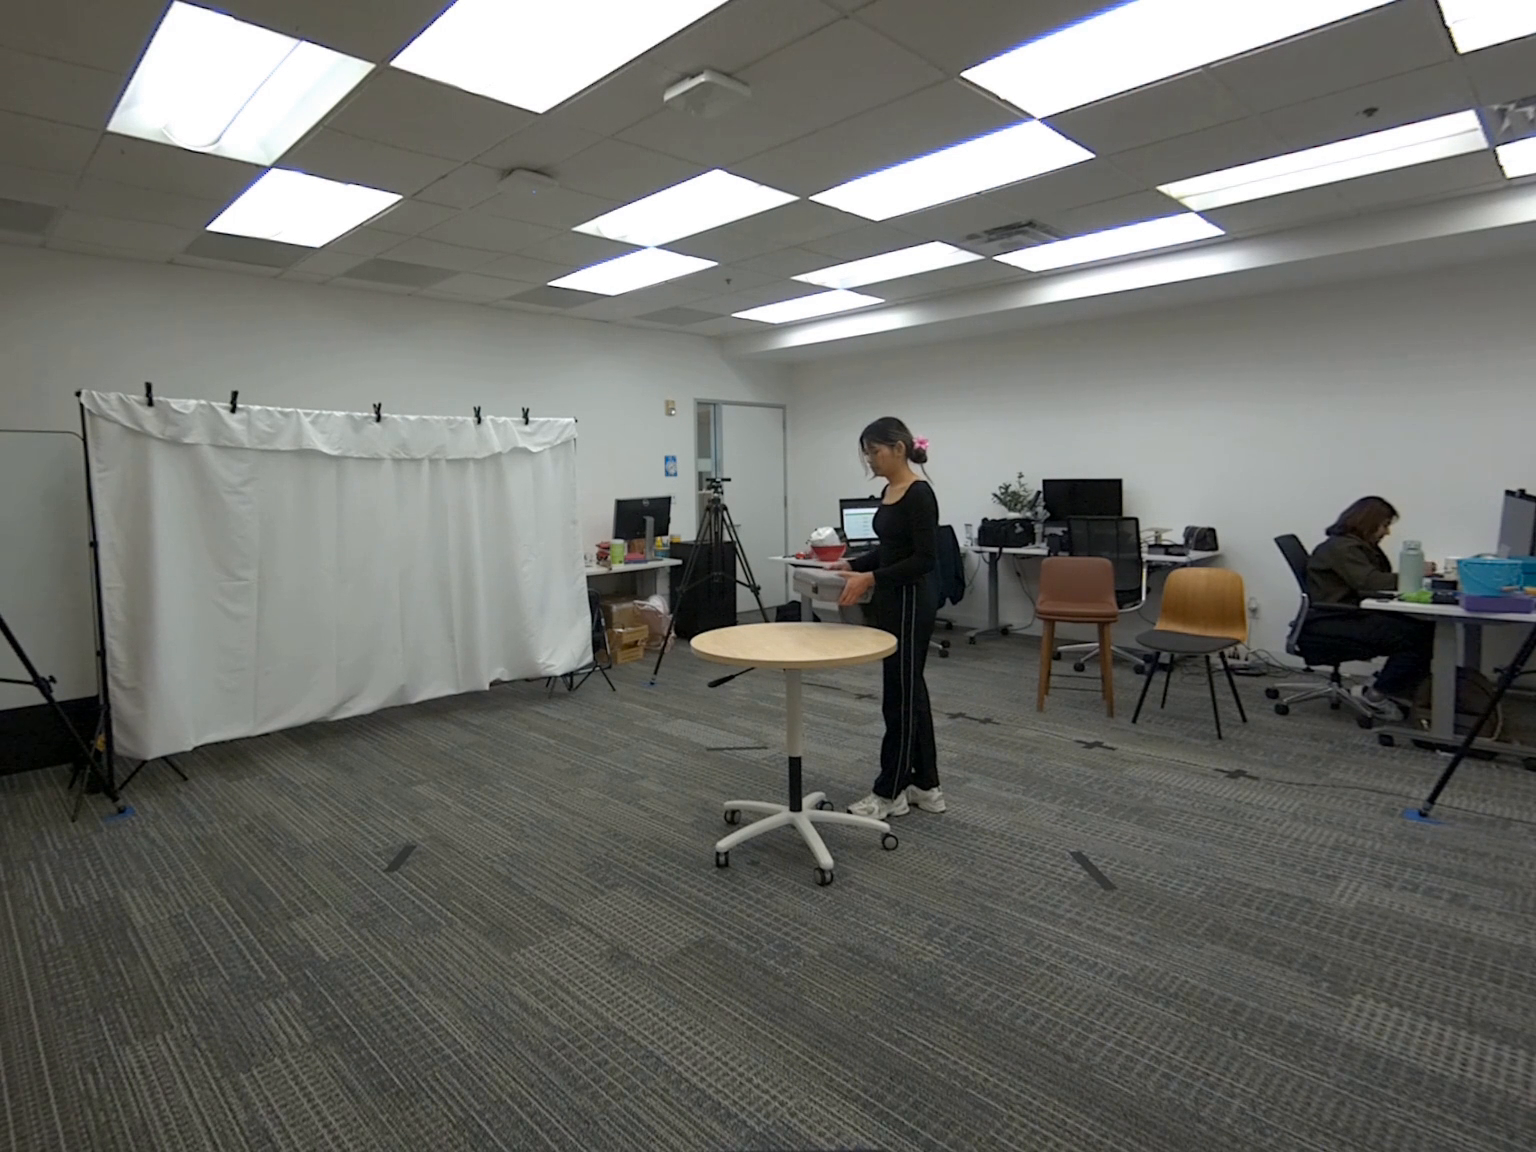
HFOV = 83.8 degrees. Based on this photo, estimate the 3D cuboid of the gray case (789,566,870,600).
[{"bbox_3d":[0.262,0.024,3.463,0.255,0.104,0.263,0,5,-25],"label":"gray case"}]
